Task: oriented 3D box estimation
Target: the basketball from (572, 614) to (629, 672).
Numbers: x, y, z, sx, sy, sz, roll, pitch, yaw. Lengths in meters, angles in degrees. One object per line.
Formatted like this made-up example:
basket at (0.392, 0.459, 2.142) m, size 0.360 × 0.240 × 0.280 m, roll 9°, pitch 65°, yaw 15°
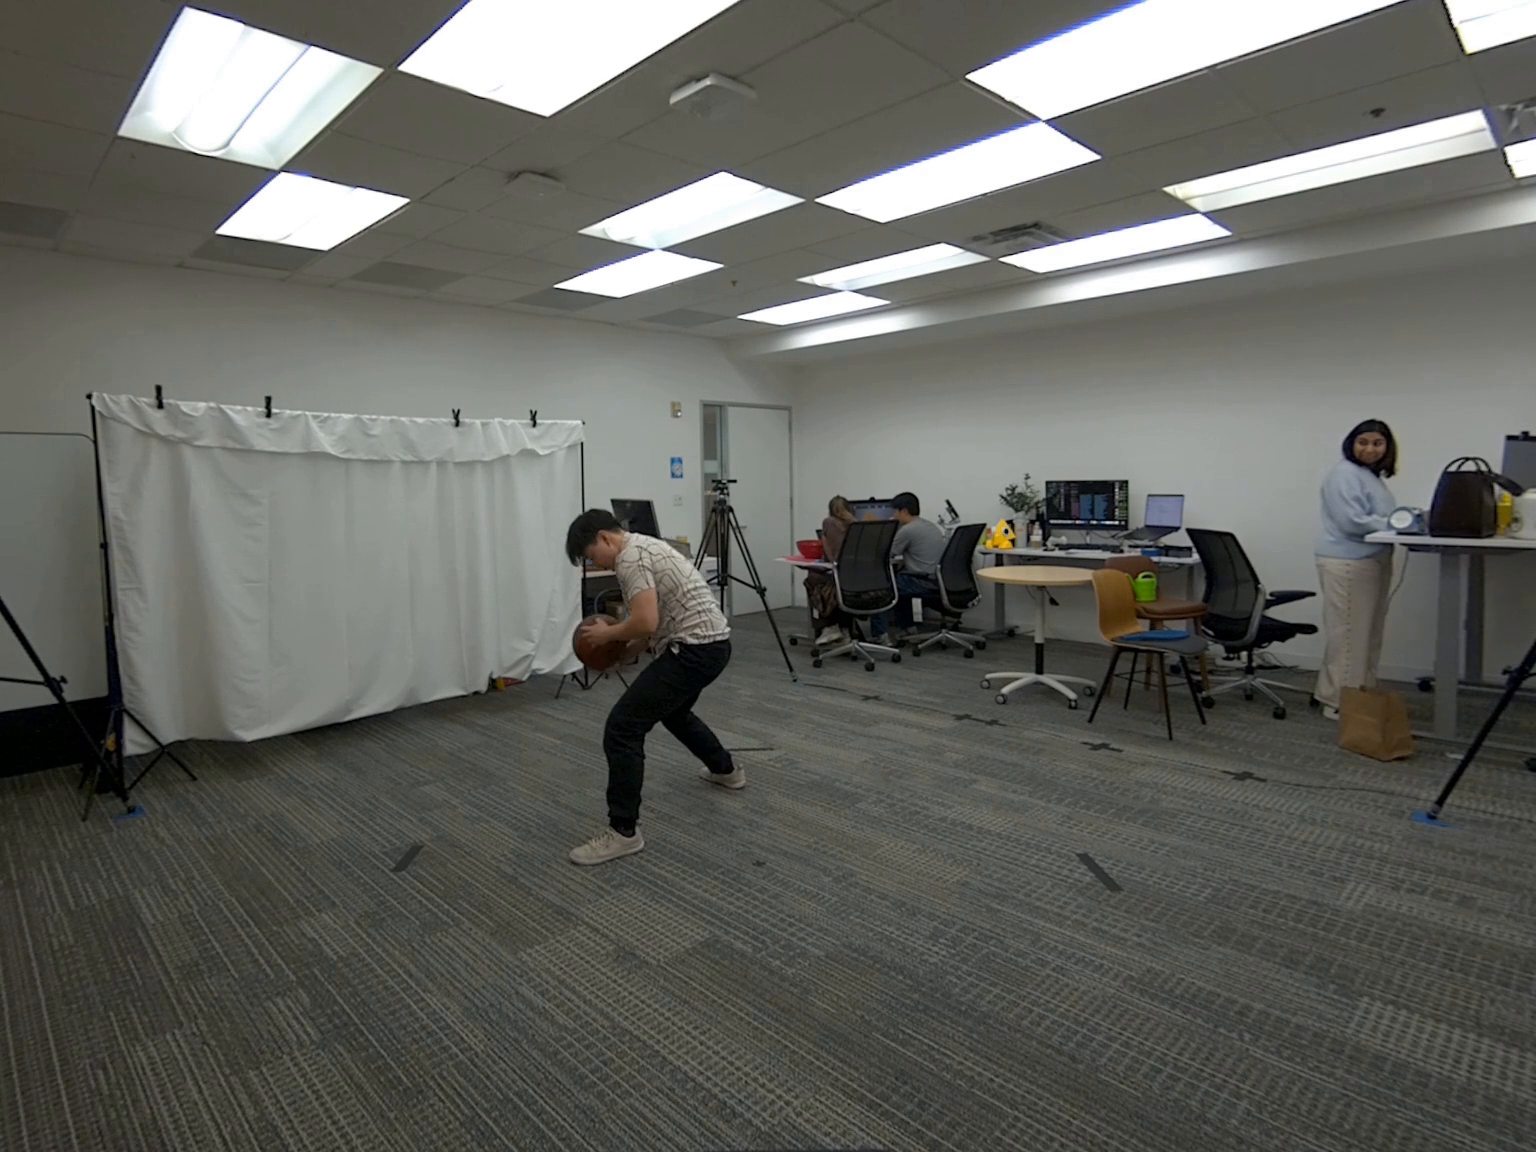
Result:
basketball at (-0.736, 0.291, 3.764) m, size 0.236 × 0.235 × 0.237 m, roll -1°, pitch 5°, yaw -2°
